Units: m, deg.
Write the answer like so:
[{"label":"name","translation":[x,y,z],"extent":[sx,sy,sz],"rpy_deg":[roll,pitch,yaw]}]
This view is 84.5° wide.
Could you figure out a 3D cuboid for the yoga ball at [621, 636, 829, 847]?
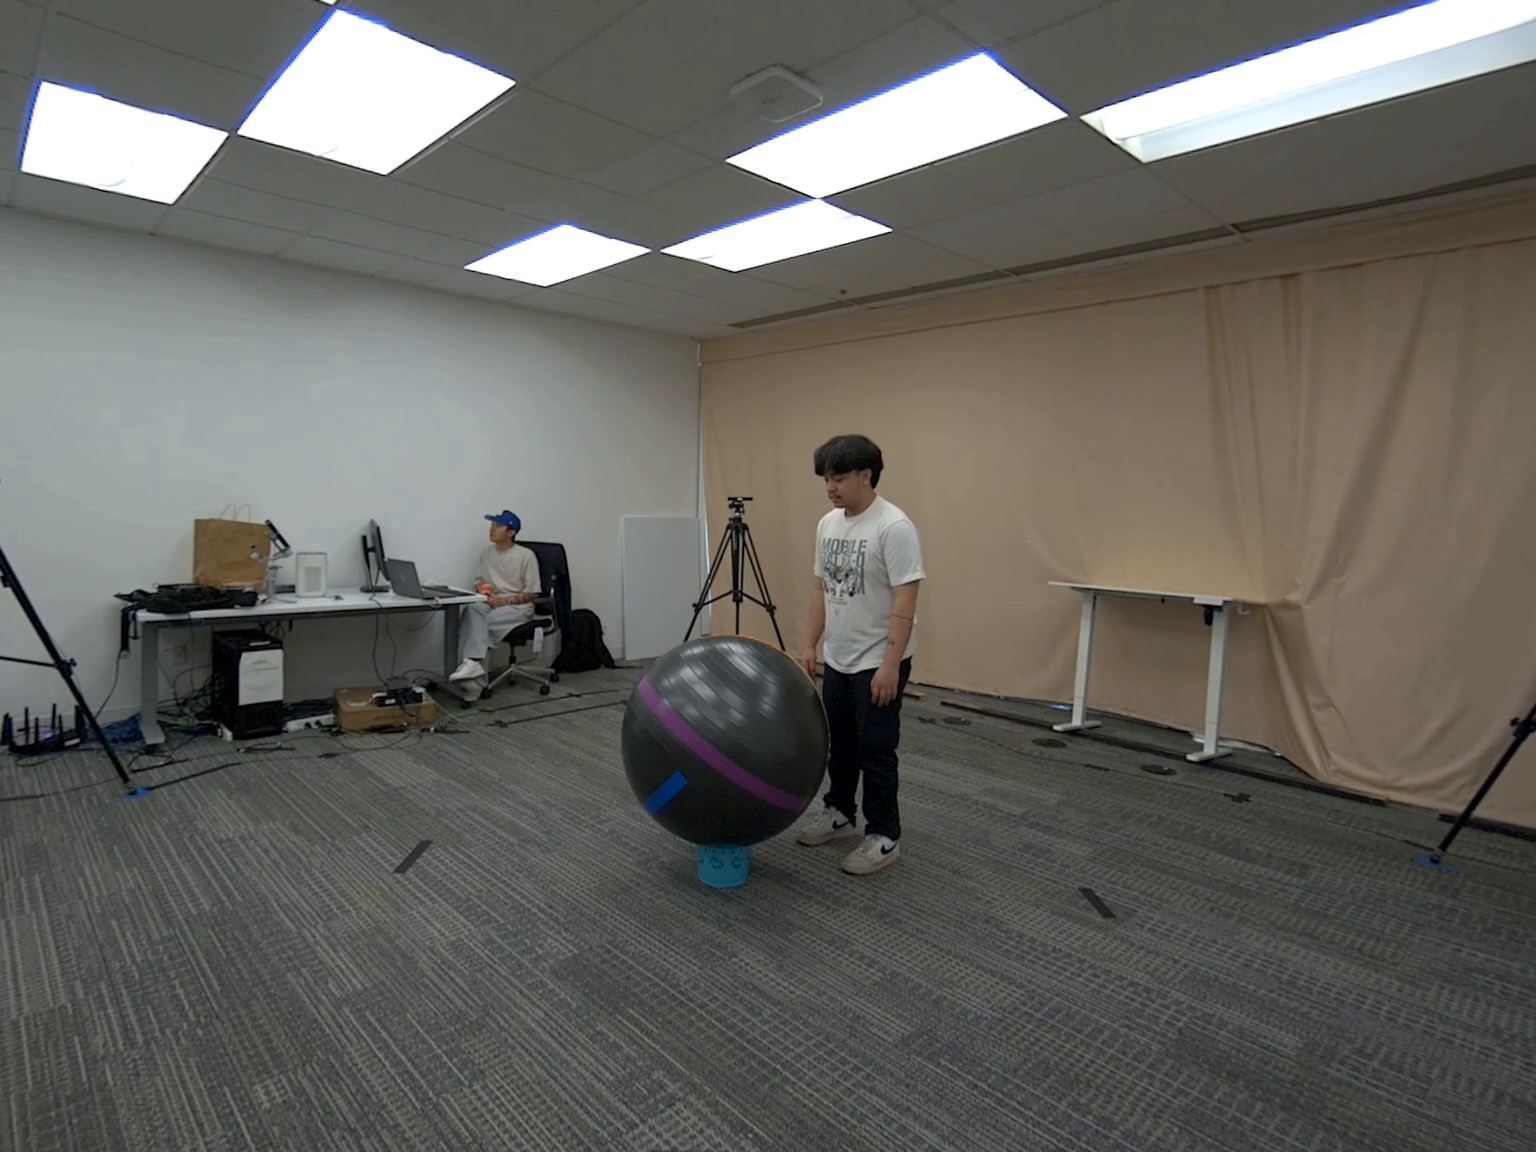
[{"label":"yoga ball","translation":[-0.158,0.597,3.088],"extent":[0.757,0.756,0.761],"rpy_deg":[1,4,-1]}]
